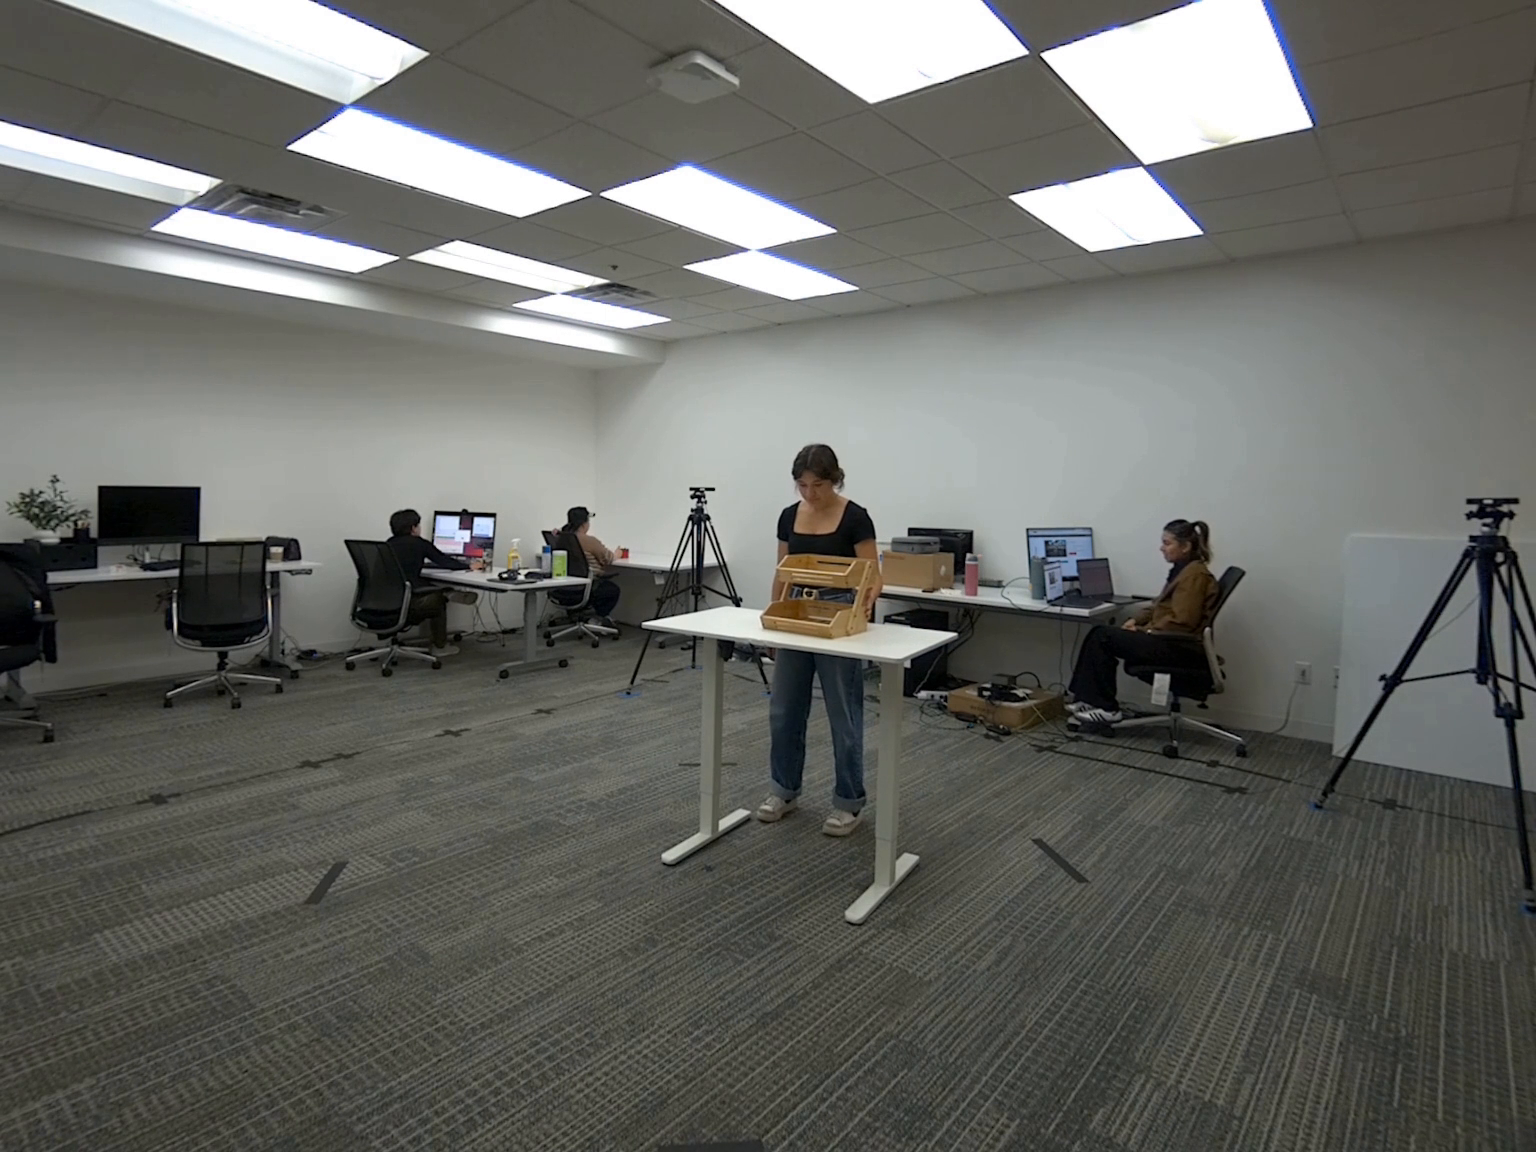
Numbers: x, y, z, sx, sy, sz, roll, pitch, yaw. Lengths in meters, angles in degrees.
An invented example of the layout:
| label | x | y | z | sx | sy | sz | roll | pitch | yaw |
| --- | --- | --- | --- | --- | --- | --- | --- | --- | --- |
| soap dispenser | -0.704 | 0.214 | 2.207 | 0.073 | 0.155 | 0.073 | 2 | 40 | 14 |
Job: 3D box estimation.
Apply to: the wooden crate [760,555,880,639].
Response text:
| label | x | y | z | sx | sy | sz | roll | pitch | yaw |
| --- | --- | --- | --- | --- | --- | --- | --- | --- | --- |
| wooden crate | 0.174 | 0.061 | 3.107 | 0.335 | 0.272 | 0.293 | 5 | 5 | 37 |
